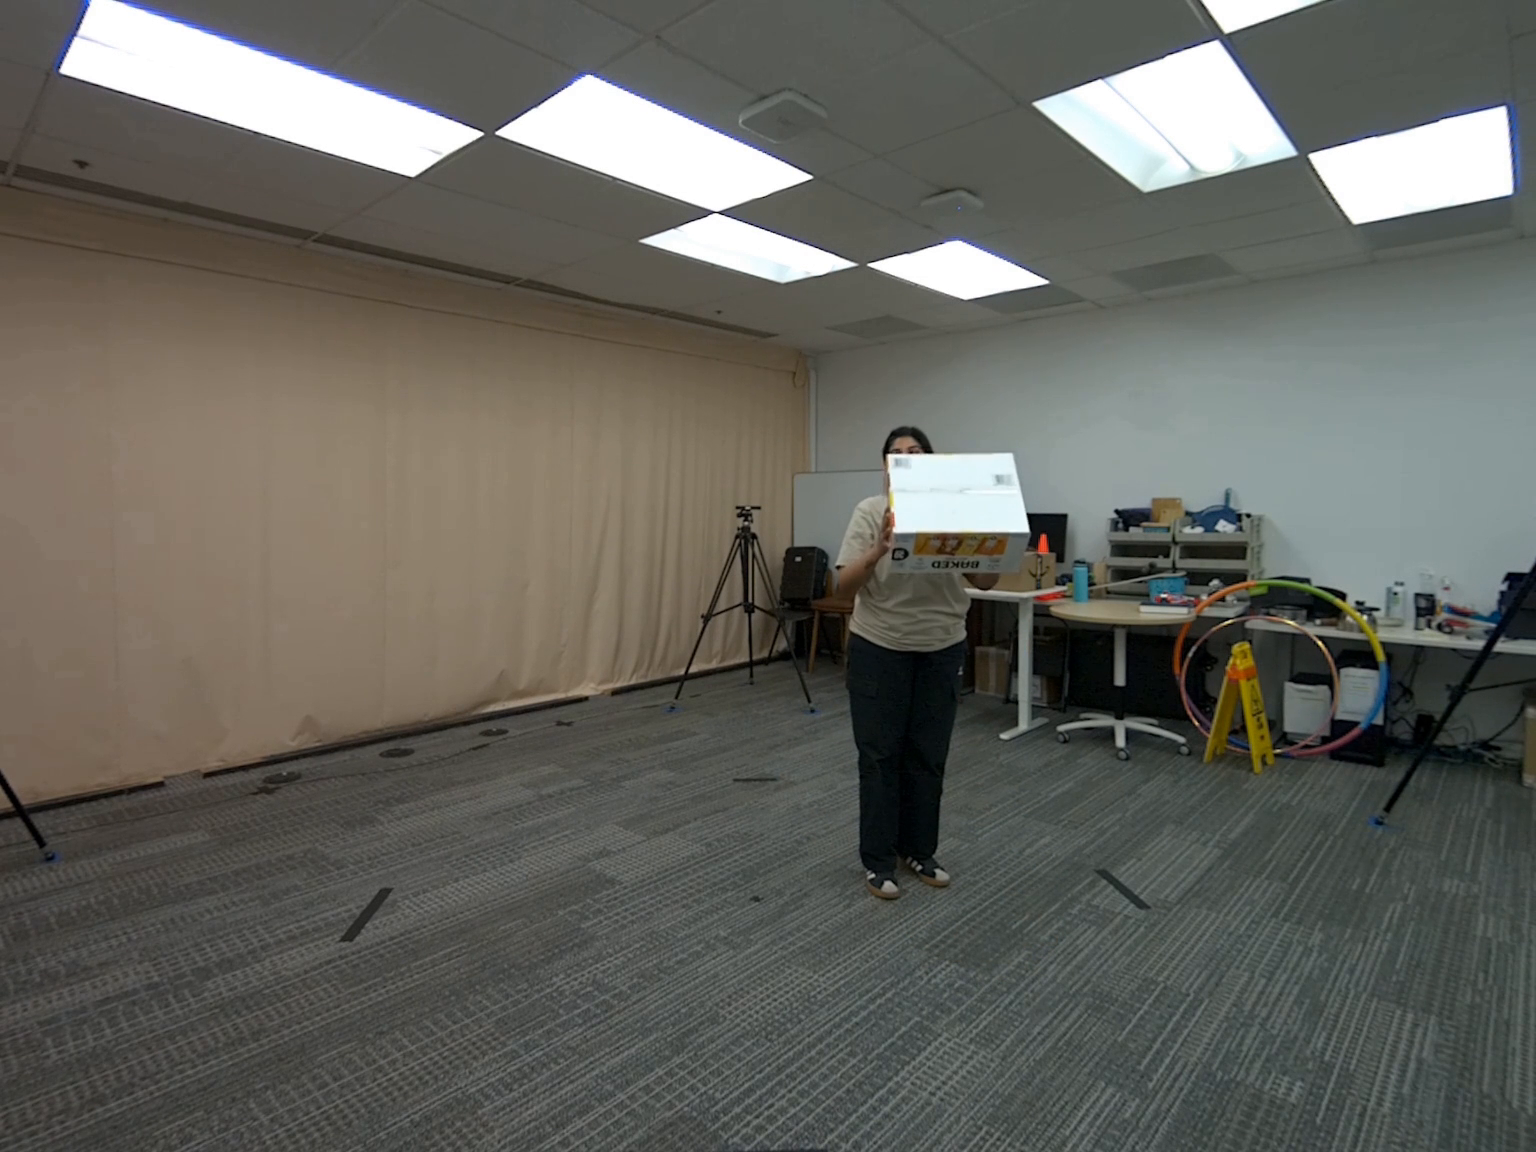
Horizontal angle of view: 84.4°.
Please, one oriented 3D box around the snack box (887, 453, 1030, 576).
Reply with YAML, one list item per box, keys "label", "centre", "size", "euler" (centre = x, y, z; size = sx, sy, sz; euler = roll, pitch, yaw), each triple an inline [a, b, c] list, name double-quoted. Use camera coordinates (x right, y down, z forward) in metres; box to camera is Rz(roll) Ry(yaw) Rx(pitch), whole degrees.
- label: "snack box"
  centre: [0.593, -0.198, 2.718]
  size: [0.408, 0.345, 0.201]
  euler: [1, -37, 5]
